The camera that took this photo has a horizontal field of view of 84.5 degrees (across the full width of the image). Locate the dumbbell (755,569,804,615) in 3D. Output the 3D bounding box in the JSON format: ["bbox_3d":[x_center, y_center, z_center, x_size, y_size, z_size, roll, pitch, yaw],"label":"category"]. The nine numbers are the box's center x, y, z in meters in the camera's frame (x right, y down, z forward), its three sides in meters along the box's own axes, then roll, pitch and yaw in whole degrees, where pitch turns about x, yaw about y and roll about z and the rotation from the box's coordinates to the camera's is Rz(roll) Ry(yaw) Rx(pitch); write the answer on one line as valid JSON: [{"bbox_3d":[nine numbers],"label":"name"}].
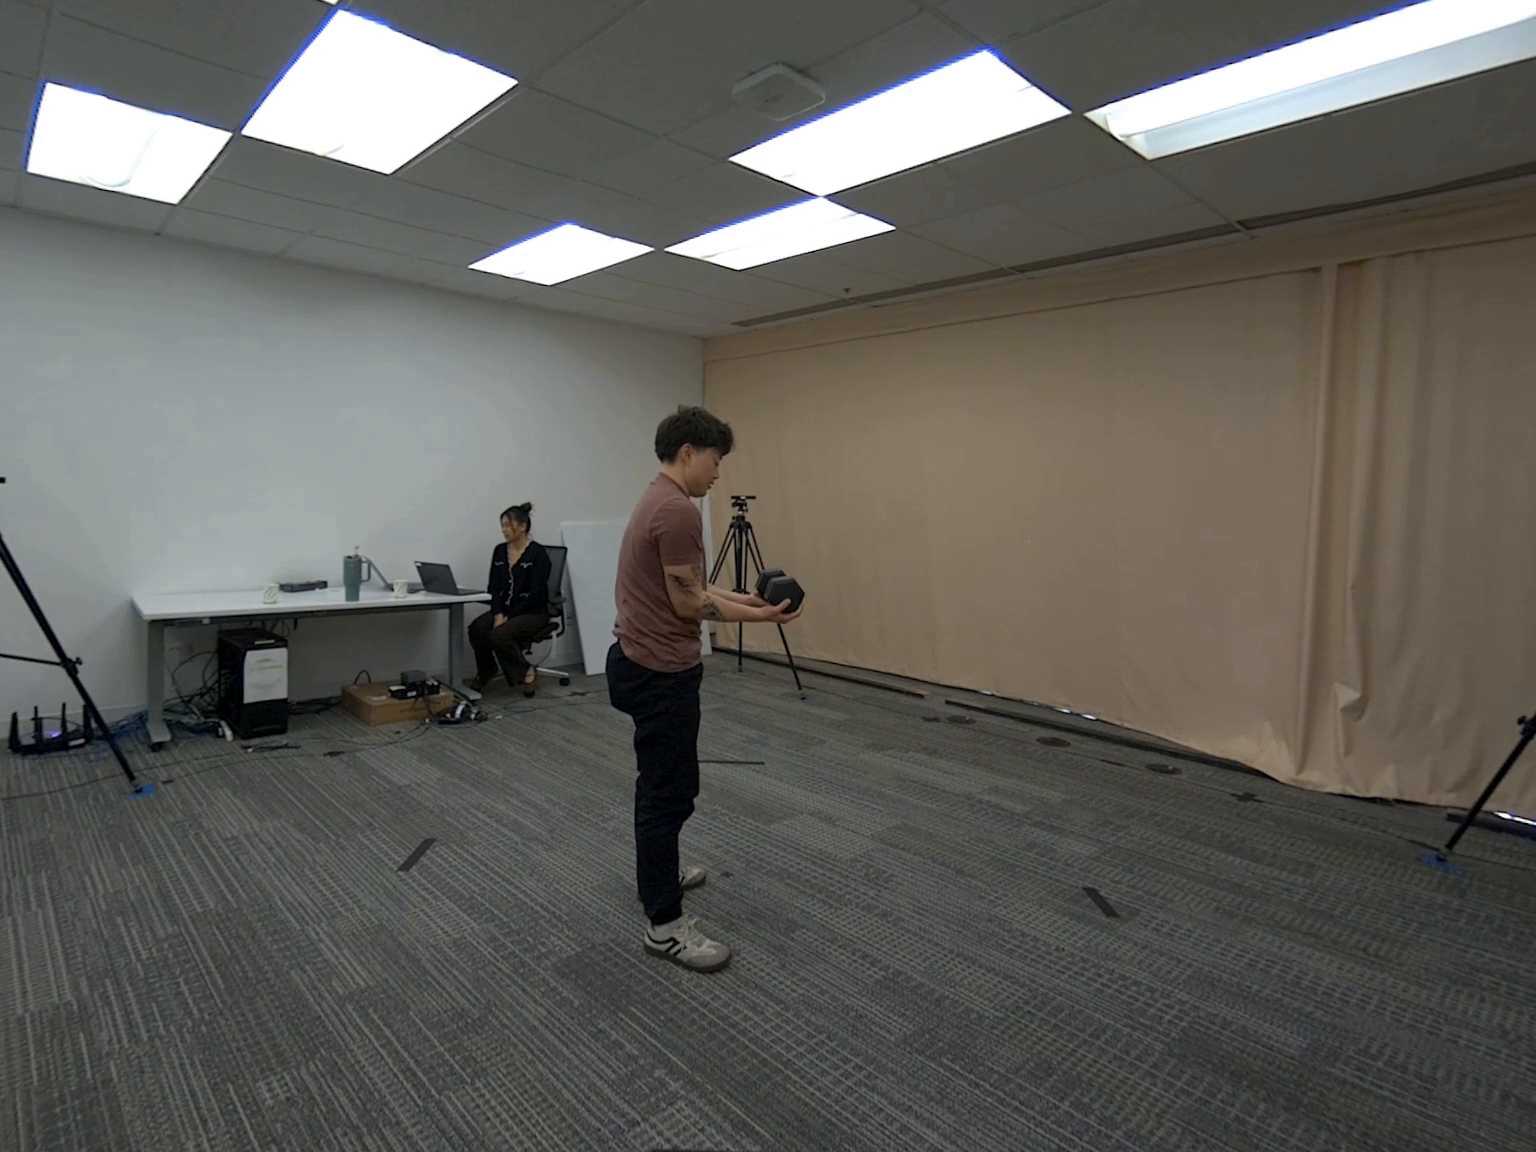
[{"bbox_3d":[0.025,0.037,2.737,0.122,0.108,0.296,-5,7,-6],"label":"dumbbell"}]
